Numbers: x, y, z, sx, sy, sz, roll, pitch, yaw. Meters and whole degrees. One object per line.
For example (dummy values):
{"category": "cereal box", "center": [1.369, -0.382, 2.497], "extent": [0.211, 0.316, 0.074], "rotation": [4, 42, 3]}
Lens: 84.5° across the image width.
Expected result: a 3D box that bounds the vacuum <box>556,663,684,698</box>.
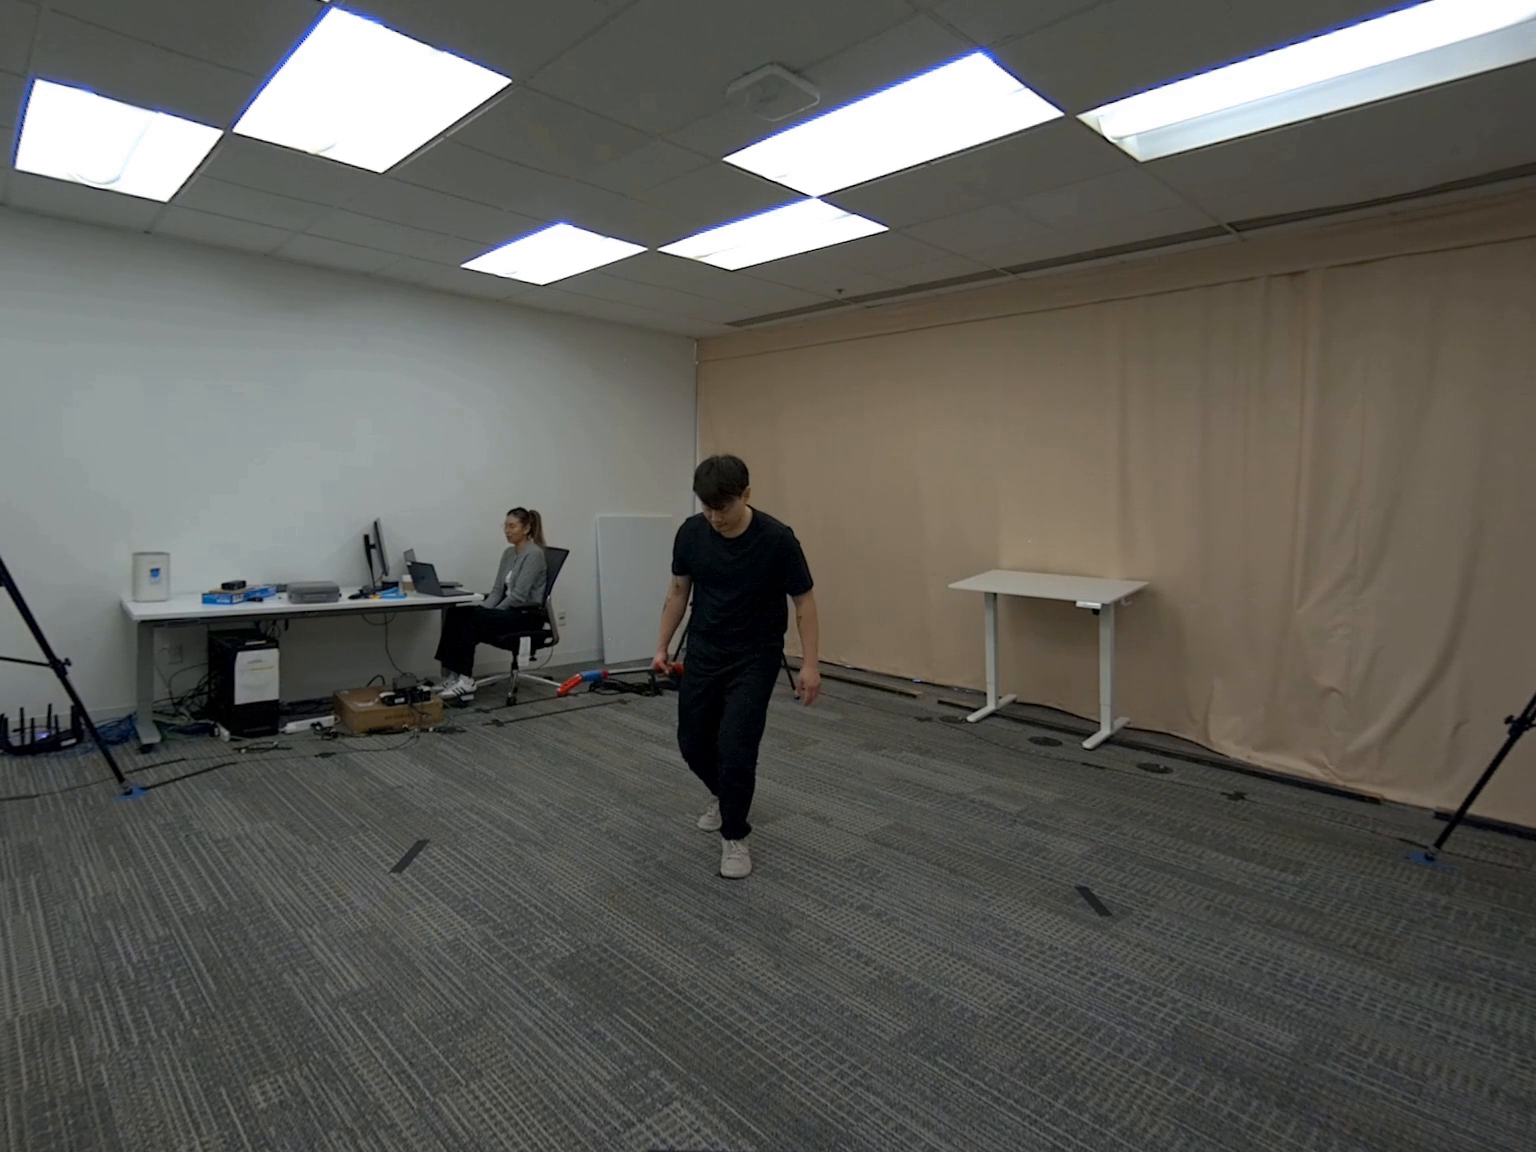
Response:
{"category": "vacuum", "center": [-0.474, 0.419, 3.284], "extent": [0.259, 0.143, 1.026], "rotation": [17, 6, 28]}
